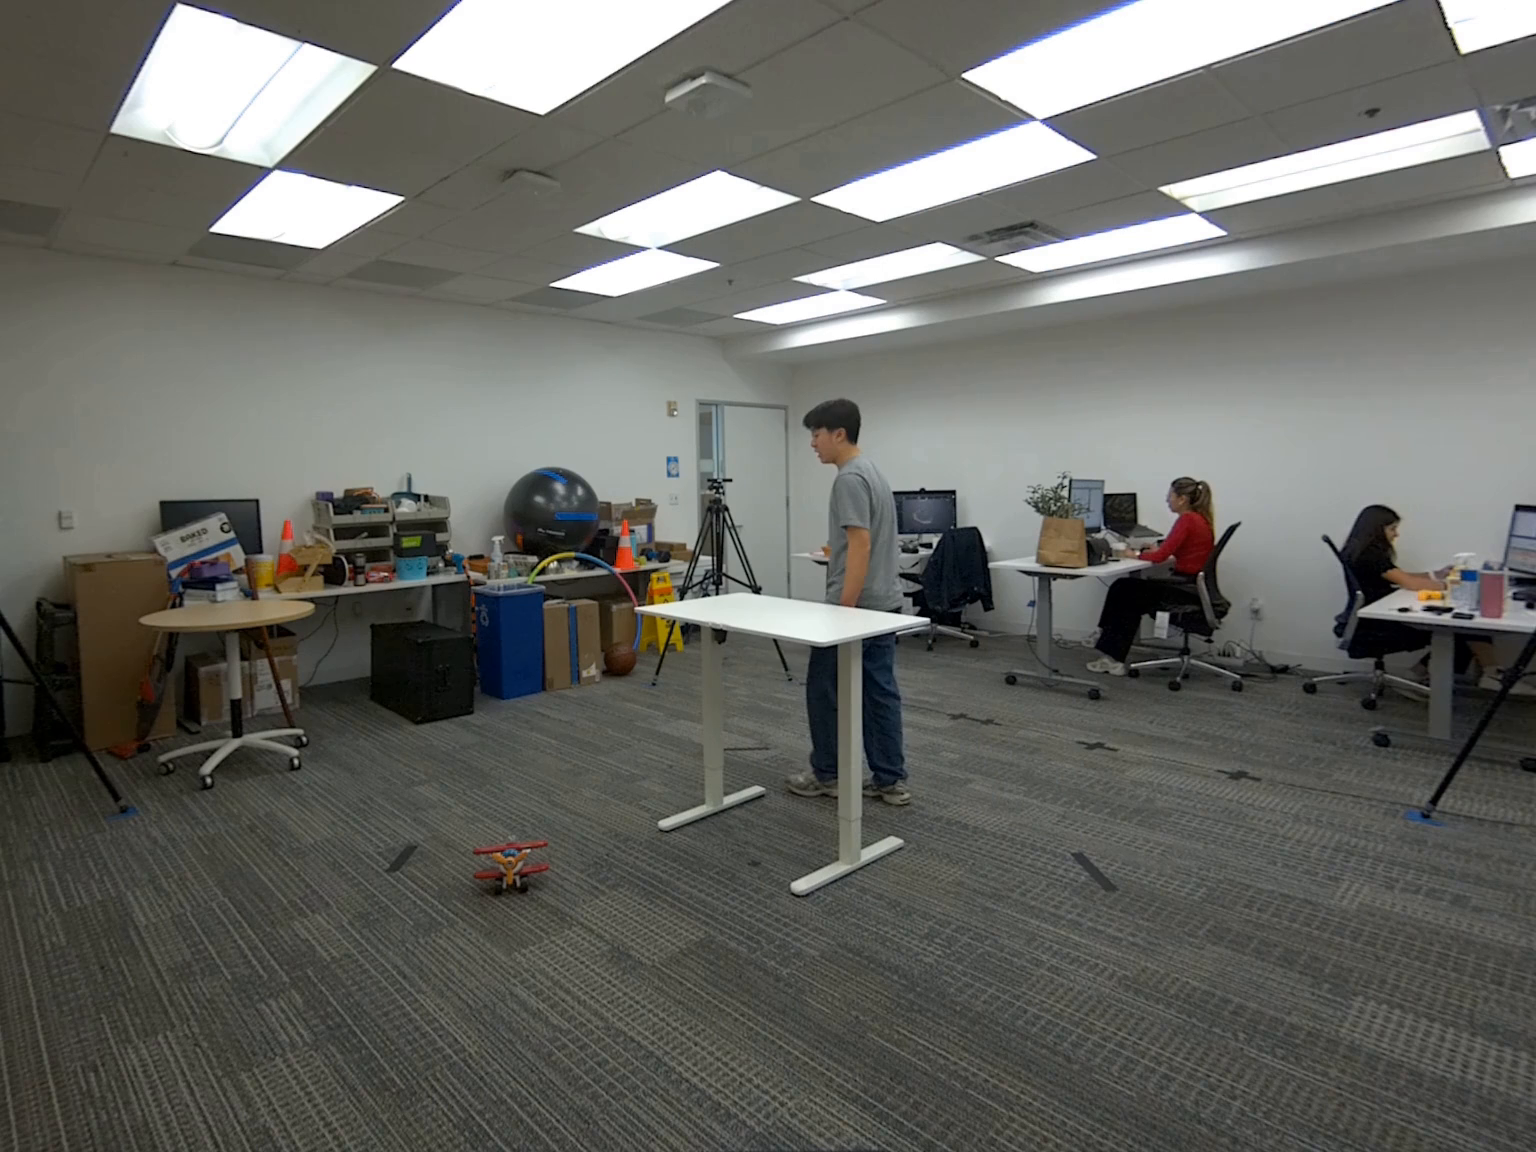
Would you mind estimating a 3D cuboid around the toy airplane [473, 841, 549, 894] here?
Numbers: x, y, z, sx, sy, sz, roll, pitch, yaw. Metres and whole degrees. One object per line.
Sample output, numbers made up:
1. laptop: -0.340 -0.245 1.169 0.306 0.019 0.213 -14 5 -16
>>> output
1. toy airplane: -0.919 1.003 2.996 0.244 0.156 0.267 -6 8 -41
